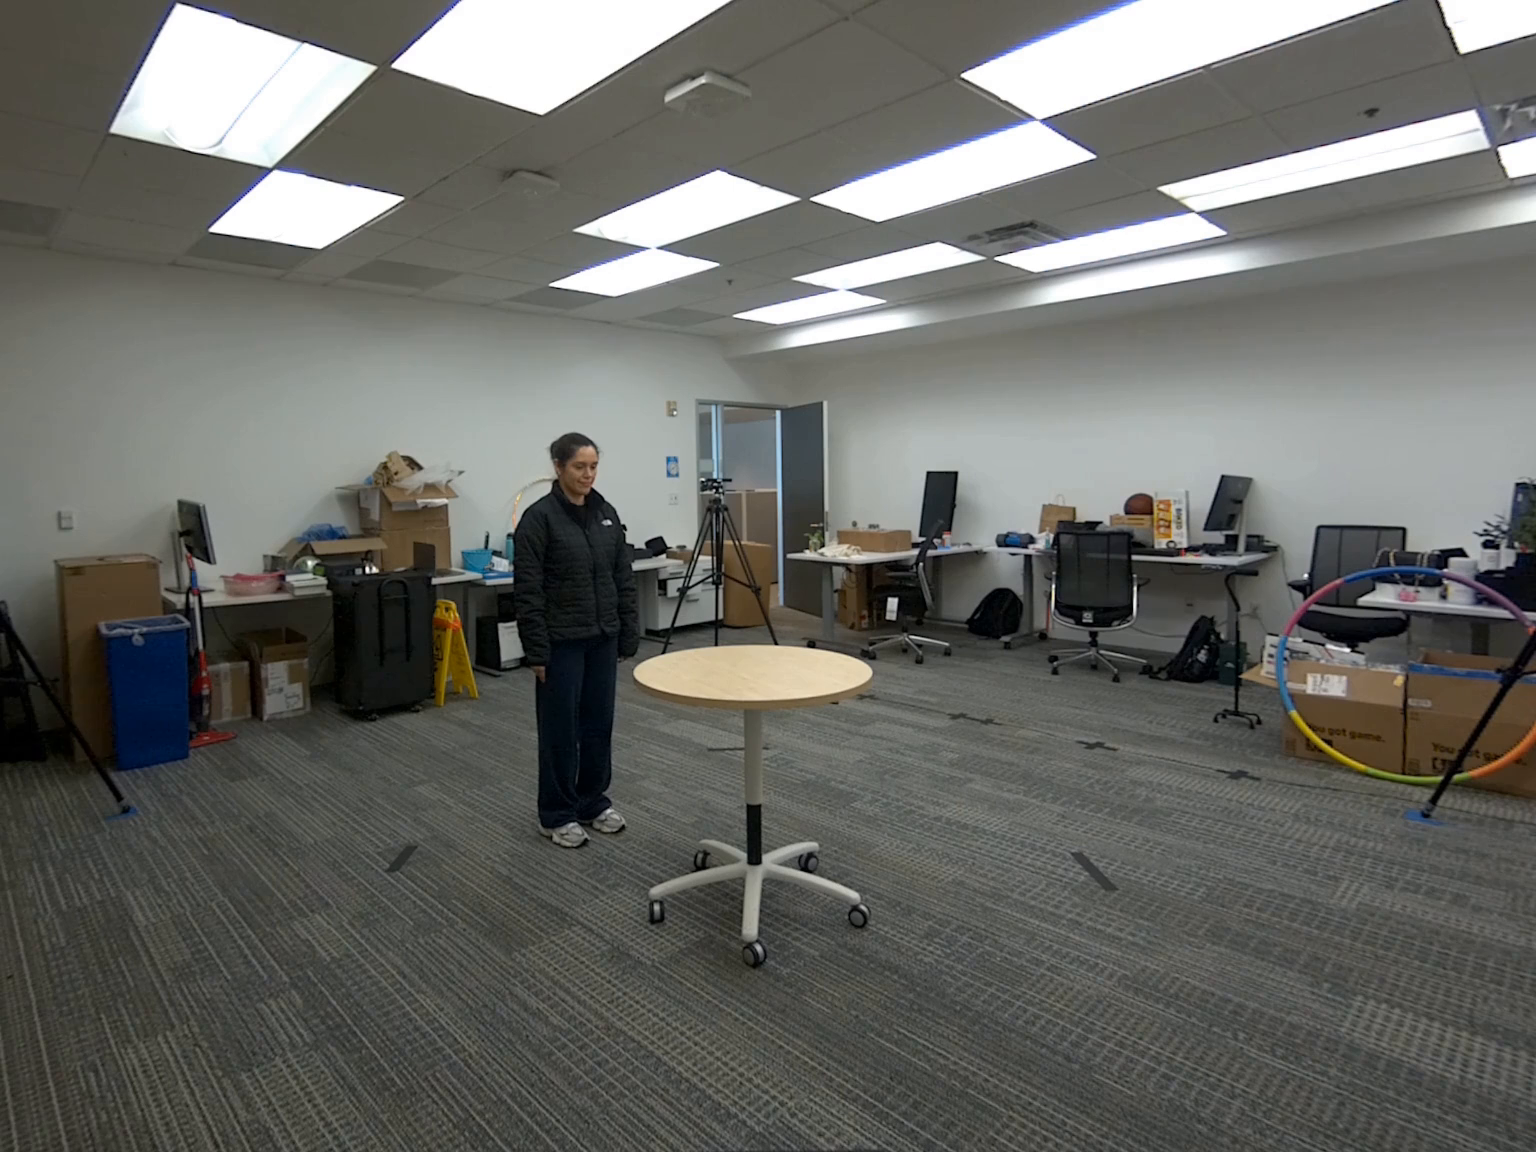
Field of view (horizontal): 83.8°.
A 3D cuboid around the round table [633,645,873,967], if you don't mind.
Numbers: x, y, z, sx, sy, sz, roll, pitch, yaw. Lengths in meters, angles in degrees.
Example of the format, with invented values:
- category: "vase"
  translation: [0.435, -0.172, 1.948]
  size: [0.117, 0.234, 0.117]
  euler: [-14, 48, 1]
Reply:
- category: "round table"
  translation: [-0.058, 0.687, 2.795]
  size: [0.784, 0.783, 0.789]
  euler: [0, 5, -2]
